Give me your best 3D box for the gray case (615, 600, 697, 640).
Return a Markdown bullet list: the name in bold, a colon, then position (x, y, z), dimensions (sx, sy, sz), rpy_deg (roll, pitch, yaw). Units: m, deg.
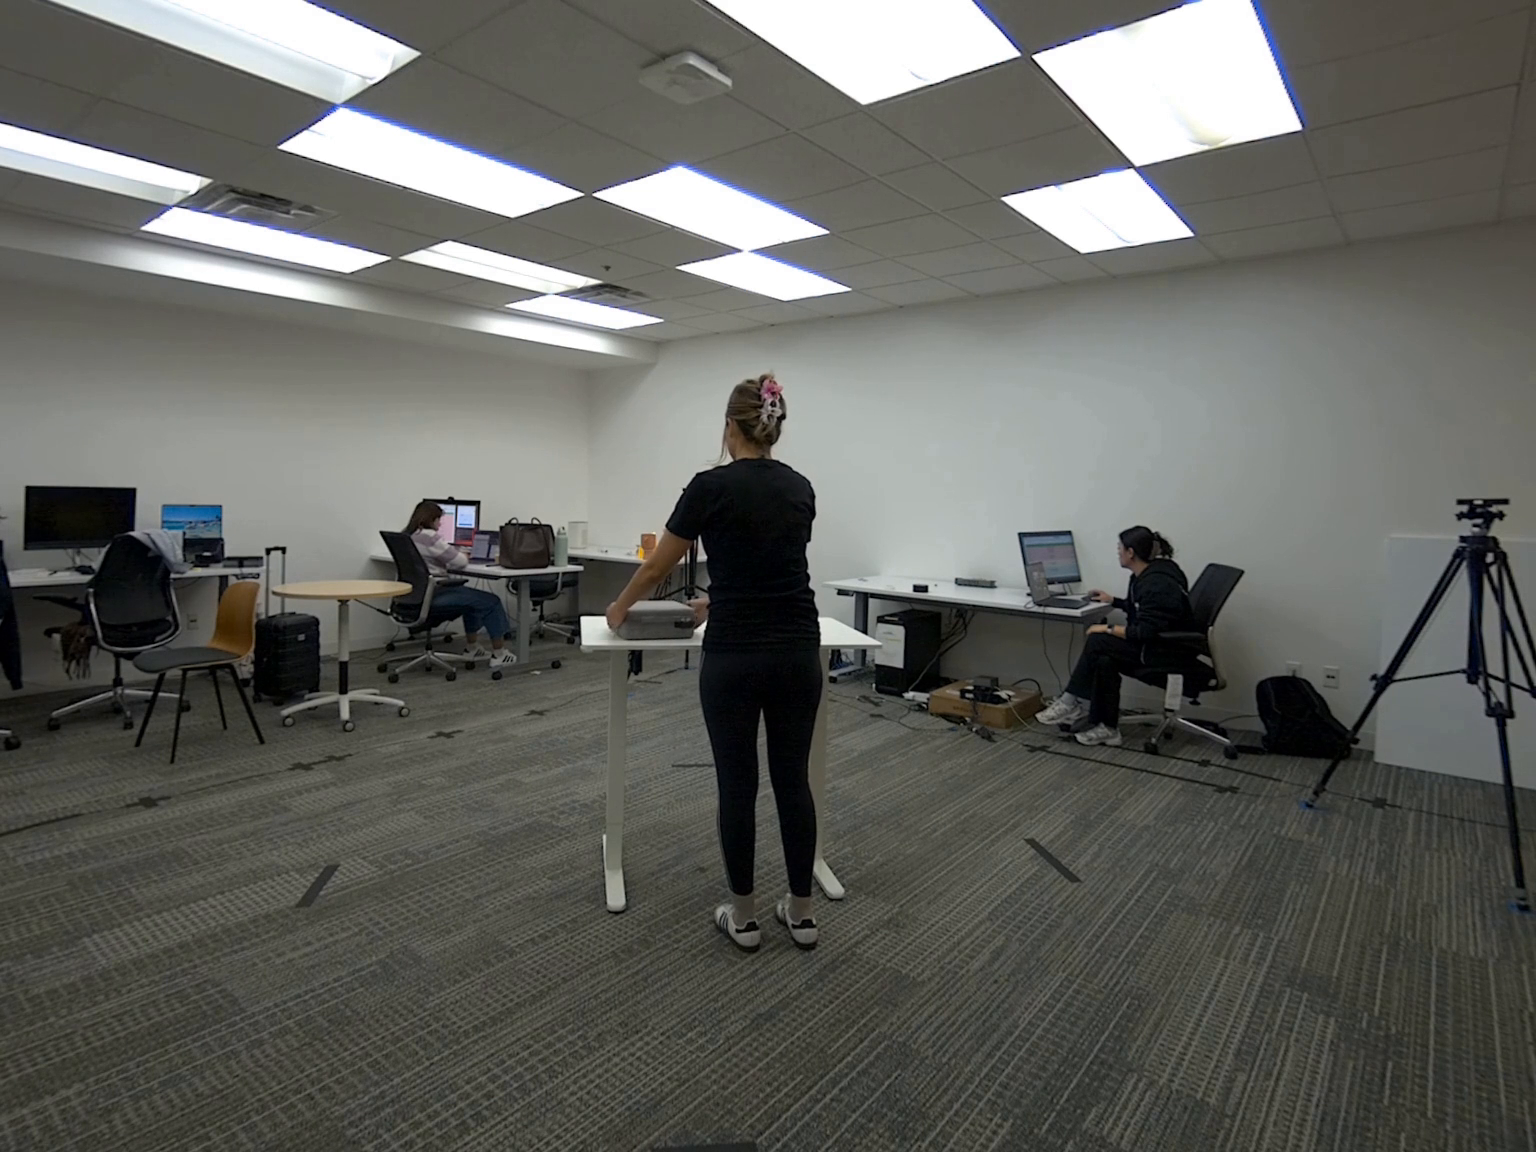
- **gray case**: position (-0.420, 0.146, 2.940), dimensions (0.252, 0.104, 0.267), rpy_deg (-1, 5, -21)
